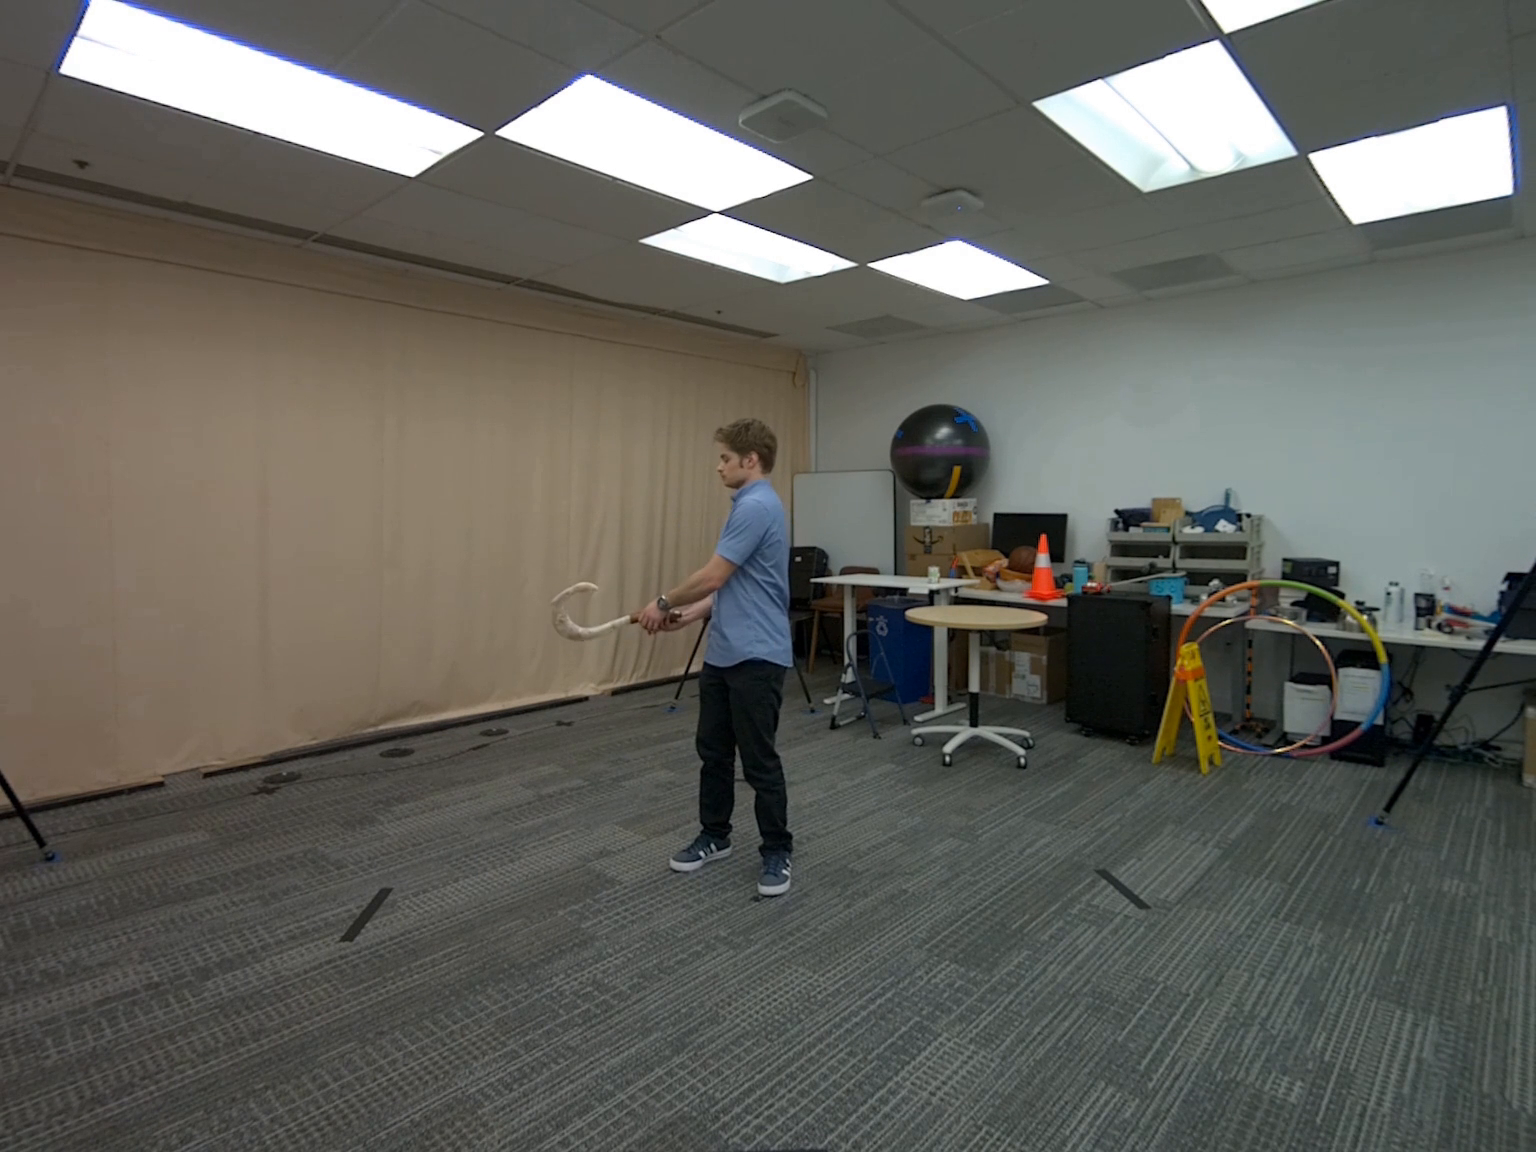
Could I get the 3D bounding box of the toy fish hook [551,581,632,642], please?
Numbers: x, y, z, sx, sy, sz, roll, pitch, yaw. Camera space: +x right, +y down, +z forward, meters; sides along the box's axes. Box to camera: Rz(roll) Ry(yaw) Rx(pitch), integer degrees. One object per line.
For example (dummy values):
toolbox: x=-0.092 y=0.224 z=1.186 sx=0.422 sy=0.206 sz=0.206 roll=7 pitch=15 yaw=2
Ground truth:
toy fish hook: x=-0.571 y=0.132 z=3.225 sx=0.510 sy=0.223 sz=0.048 roll=-3 pitch=7 yaw=7
